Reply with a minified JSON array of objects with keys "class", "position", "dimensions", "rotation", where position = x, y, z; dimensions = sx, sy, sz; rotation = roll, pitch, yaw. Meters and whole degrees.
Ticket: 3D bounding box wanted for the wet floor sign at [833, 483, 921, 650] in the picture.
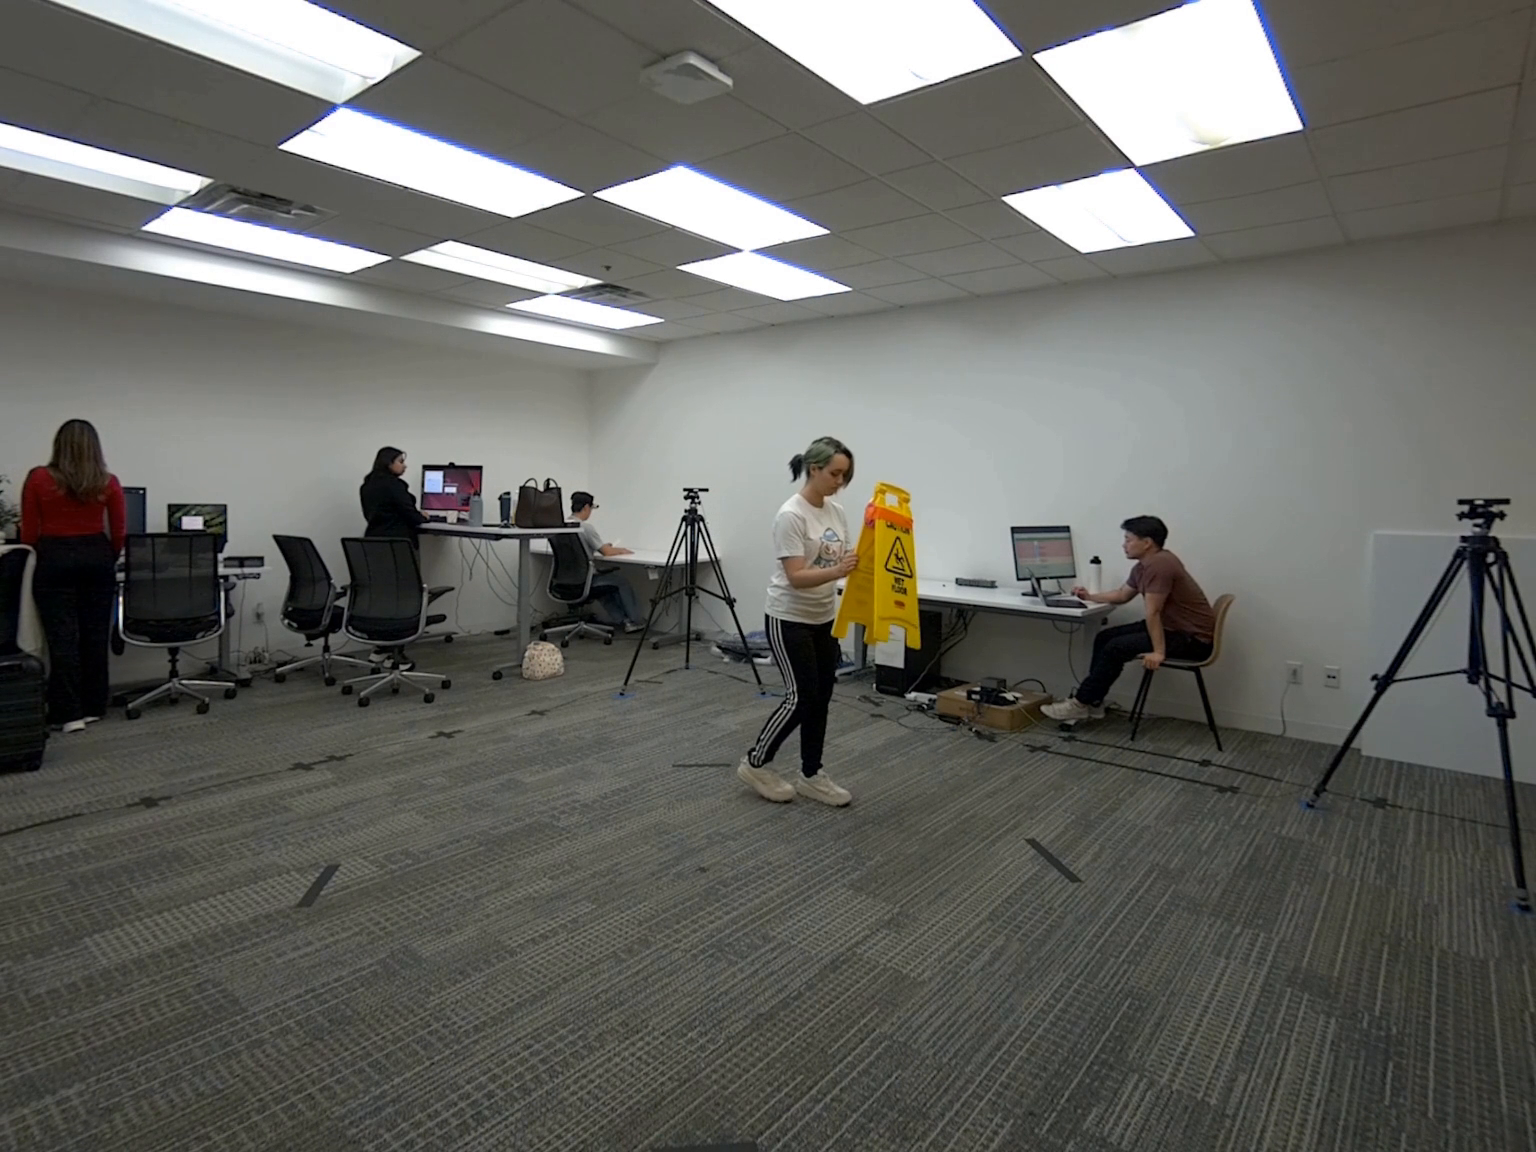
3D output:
[{"class":"wet floor sign","position":[0.467,-0.056,3.476],"dimensions":[0.272,0.651,0.298],"rotation":[15,-12,-38]}]
